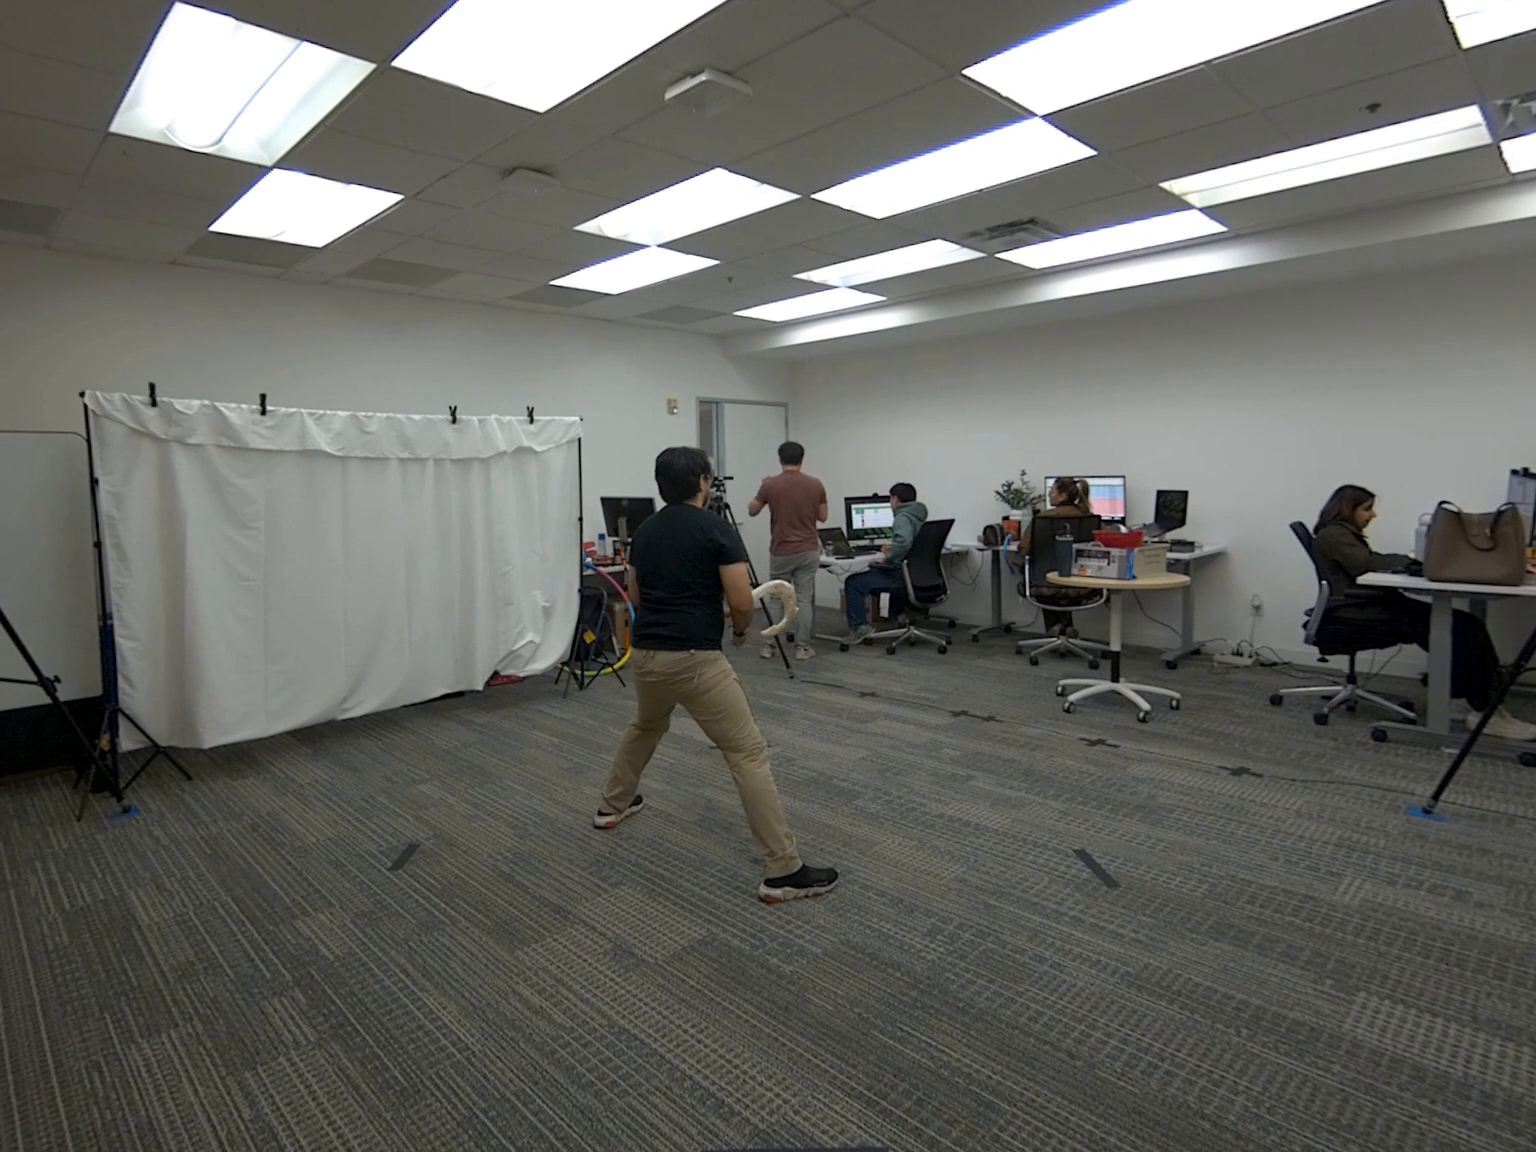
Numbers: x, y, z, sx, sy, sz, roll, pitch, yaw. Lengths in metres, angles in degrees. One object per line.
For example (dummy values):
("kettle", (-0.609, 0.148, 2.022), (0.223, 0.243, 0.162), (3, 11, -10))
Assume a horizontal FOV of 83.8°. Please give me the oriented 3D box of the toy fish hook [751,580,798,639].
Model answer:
("toy fish hook", (-0.087, 0.179, 3.546), (0.499, 0.222, 0.049), (-17, 9, -26))
